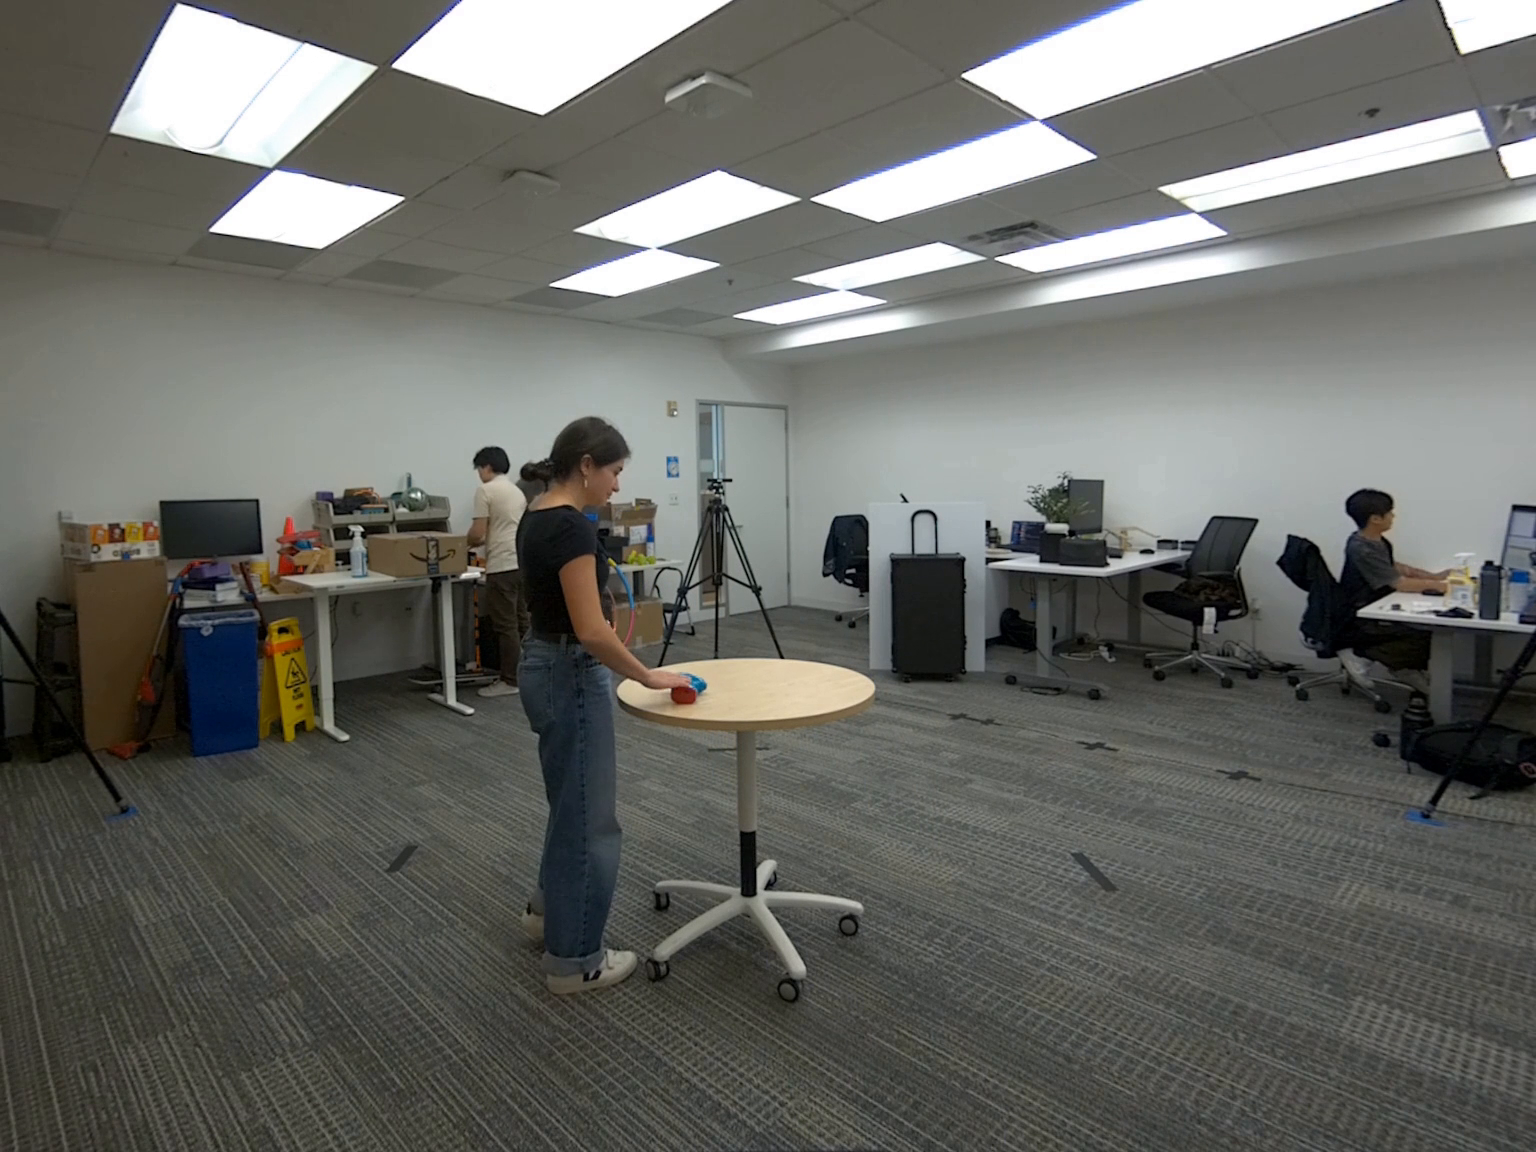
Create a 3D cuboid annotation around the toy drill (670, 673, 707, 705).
[{"bbox_3d":[-0.258,0.313,2.412,0.171,0.061,0.146,5,8,4],"label":"toy drill"}]
